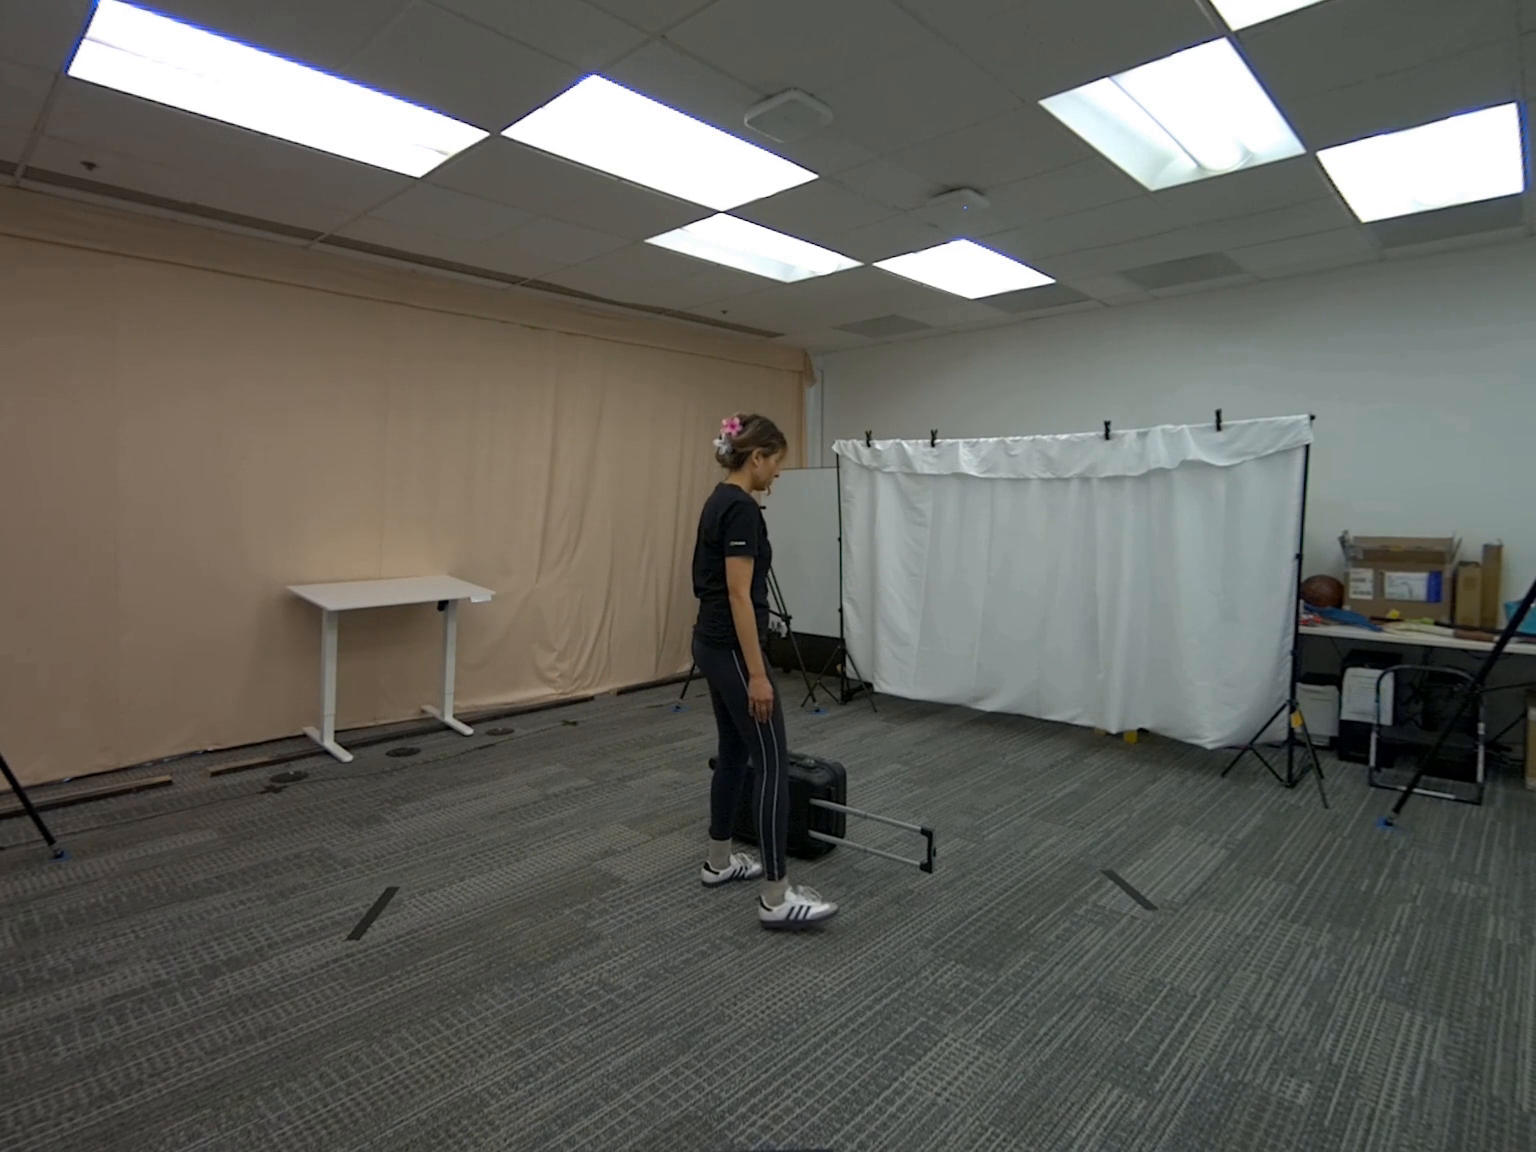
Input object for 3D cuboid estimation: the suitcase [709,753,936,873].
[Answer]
[{"bbox_3d":[0.222,0.924,3.346,1.009,0.383,0.250,3,5,34],"label":"suitcase"}]
